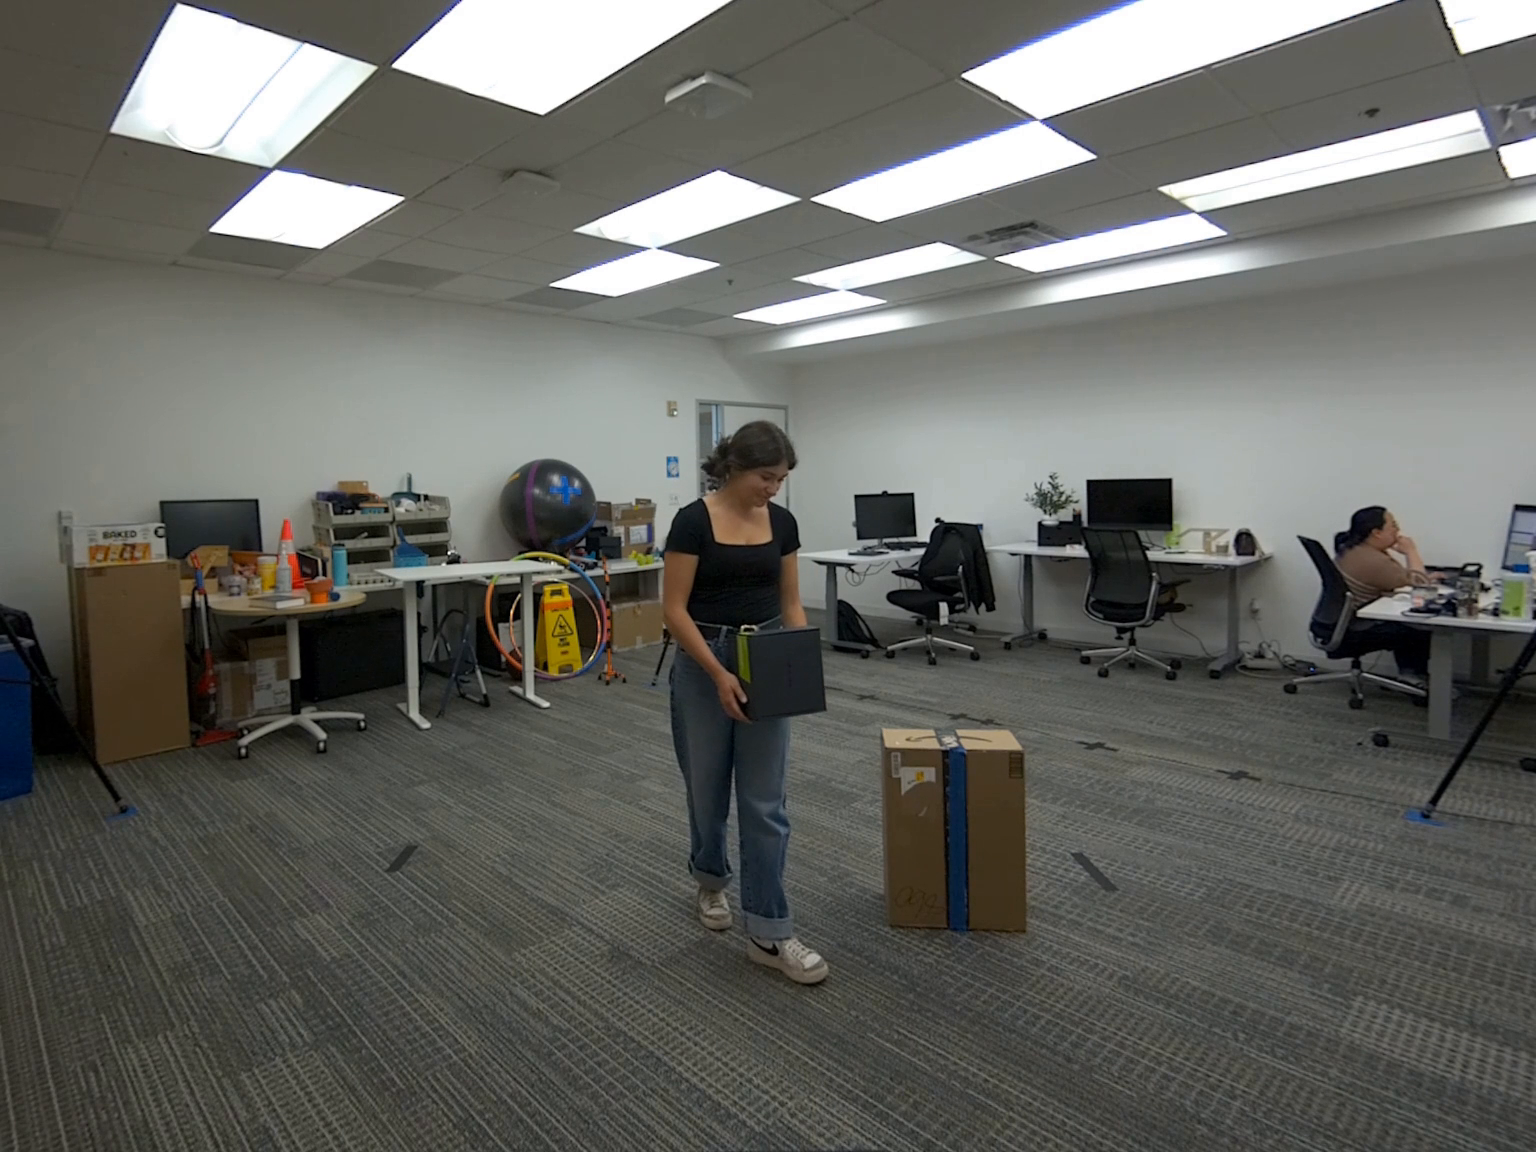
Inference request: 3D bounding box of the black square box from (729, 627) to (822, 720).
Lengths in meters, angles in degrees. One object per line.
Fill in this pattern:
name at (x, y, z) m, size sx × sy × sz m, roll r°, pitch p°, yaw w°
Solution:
black square box at (0.004, 0.266, 2.358) m, size 0.212 × 0.228 × 0.159 m, roll -4°, pitch -1°, yaw -25°
